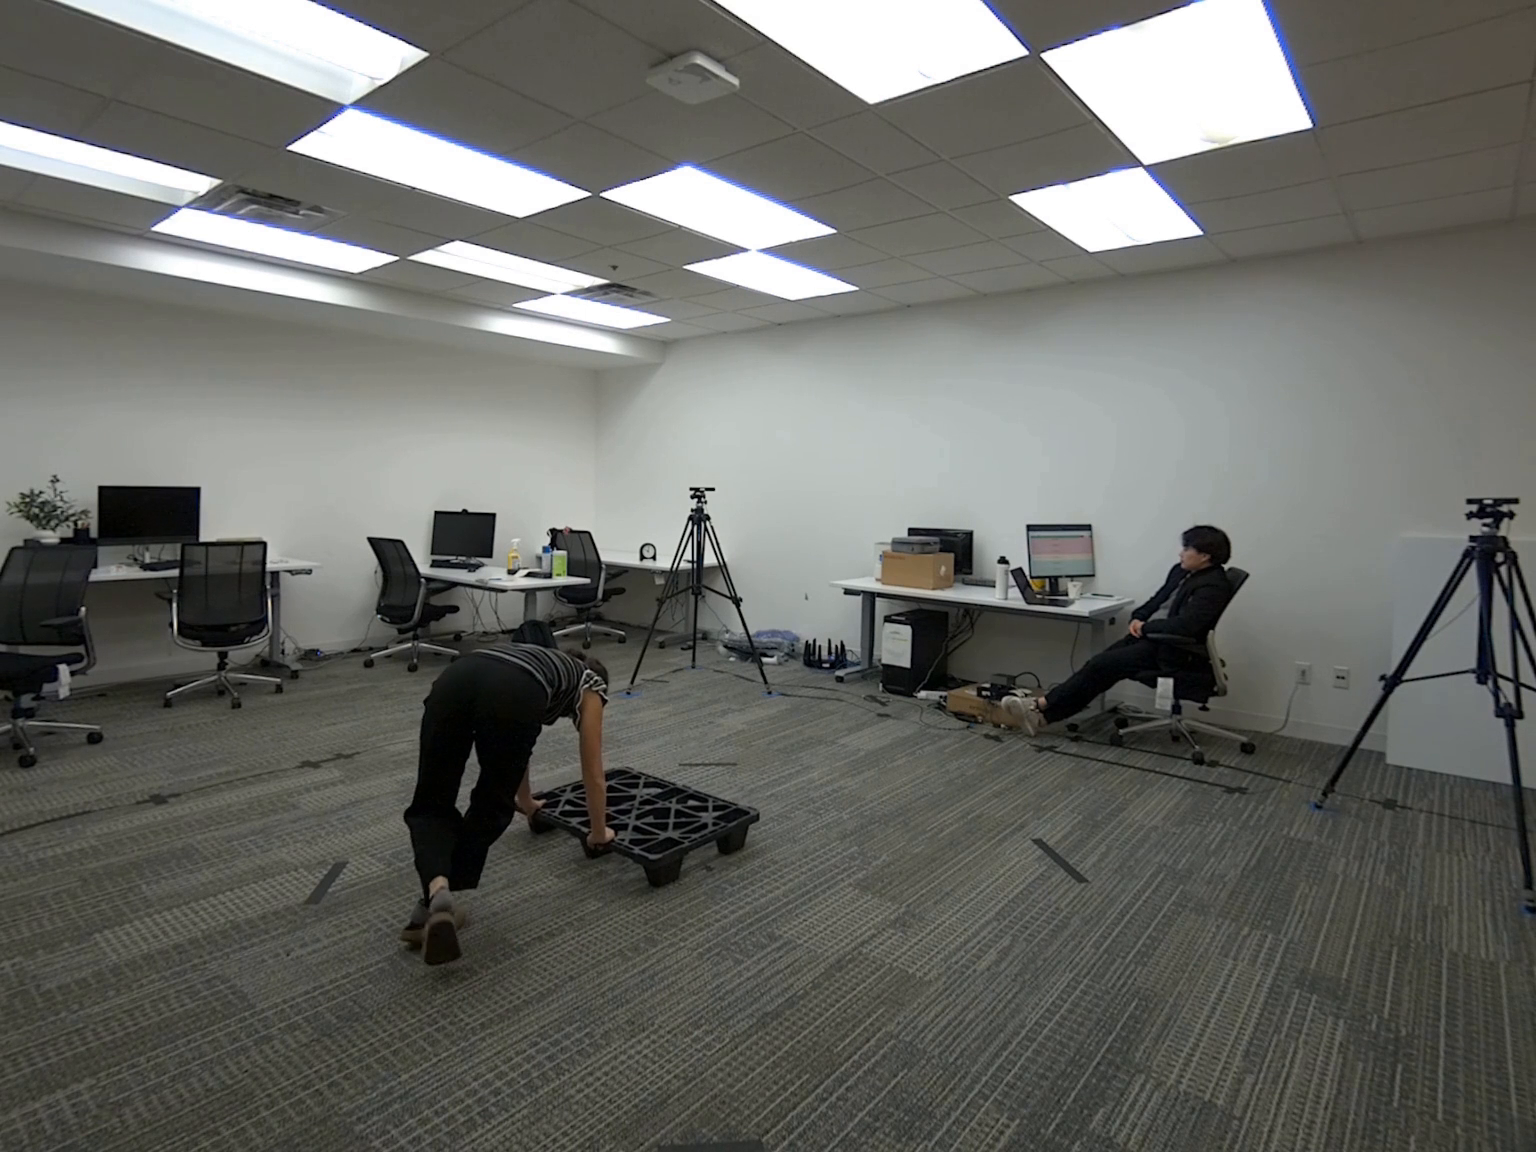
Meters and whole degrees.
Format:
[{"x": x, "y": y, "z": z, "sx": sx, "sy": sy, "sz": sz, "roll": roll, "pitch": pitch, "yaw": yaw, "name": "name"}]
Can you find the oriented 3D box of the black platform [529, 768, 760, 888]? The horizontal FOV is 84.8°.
[{"x": -0.526, "y": 0.969, "z": 3.363, "sx": 0.833, "sy": 0.143, "sz": 0.587, "roll": 6, "pitch": 7, "yaw": 40, "name": "black platform"}]
